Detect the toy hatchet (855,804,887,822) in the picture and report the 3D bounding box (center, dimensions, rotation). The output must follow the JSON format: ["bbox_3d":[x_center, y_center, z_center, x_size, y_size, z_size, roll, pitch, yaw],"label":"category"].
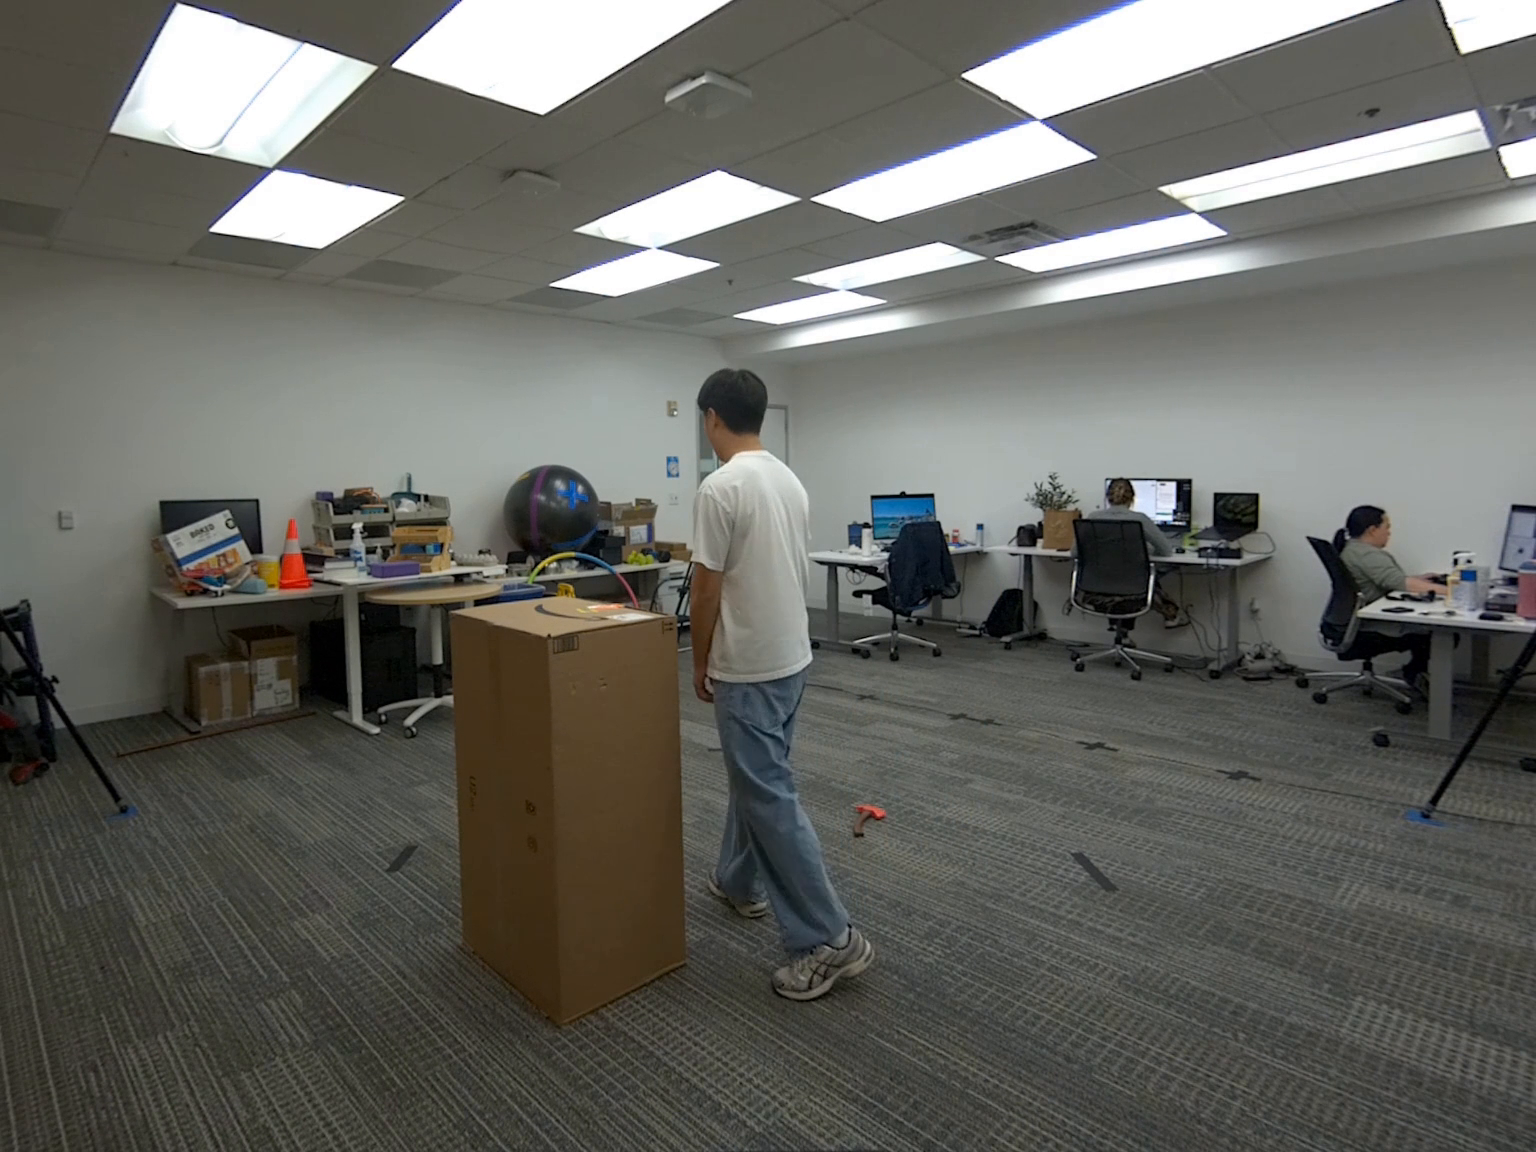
[{"bbox_3d":[0.416,0.990,3.440,0.132,0.029,0.270,1,8,7],"label":"toy hatchet"}]
